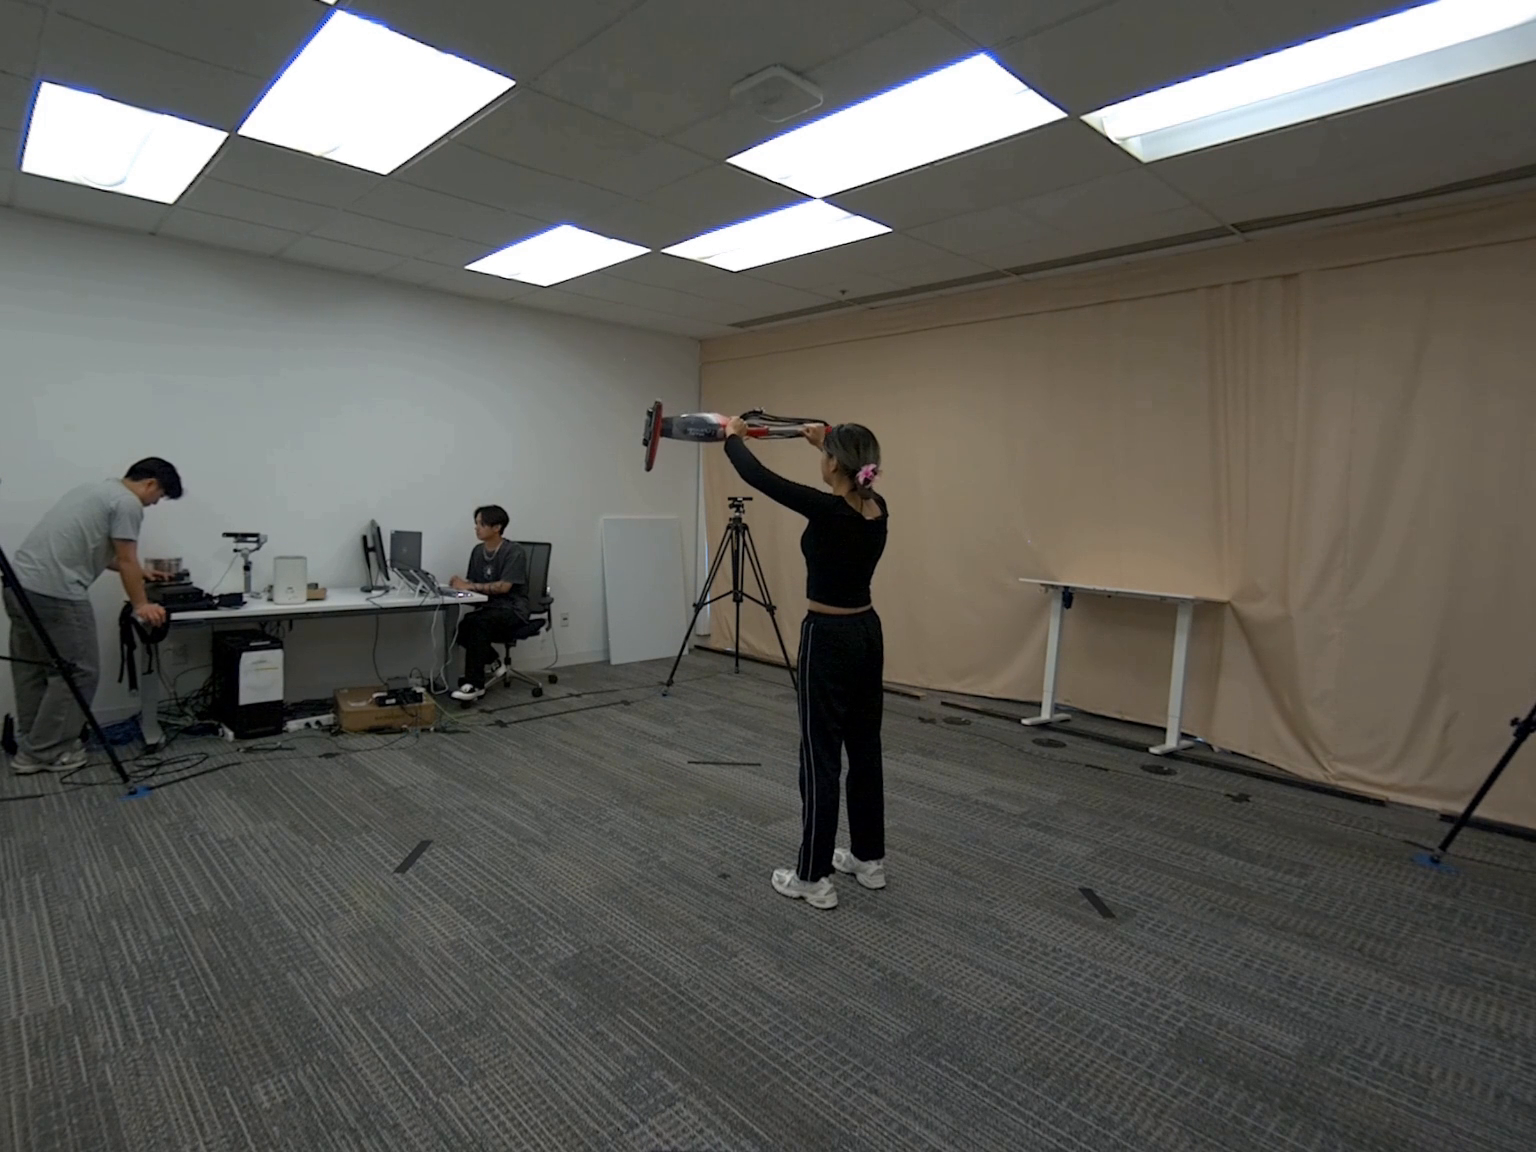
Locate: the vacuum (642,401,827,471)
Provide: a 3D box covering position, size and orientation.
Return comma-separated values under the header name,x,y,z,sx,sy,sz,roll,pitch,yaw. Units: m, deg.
name,x,y,z,sx,sy,sz,roll,pitch,yaw
vacuum,-0.033,-0.568,3.258,1.029,0.249,0.148,-11,32,-40
